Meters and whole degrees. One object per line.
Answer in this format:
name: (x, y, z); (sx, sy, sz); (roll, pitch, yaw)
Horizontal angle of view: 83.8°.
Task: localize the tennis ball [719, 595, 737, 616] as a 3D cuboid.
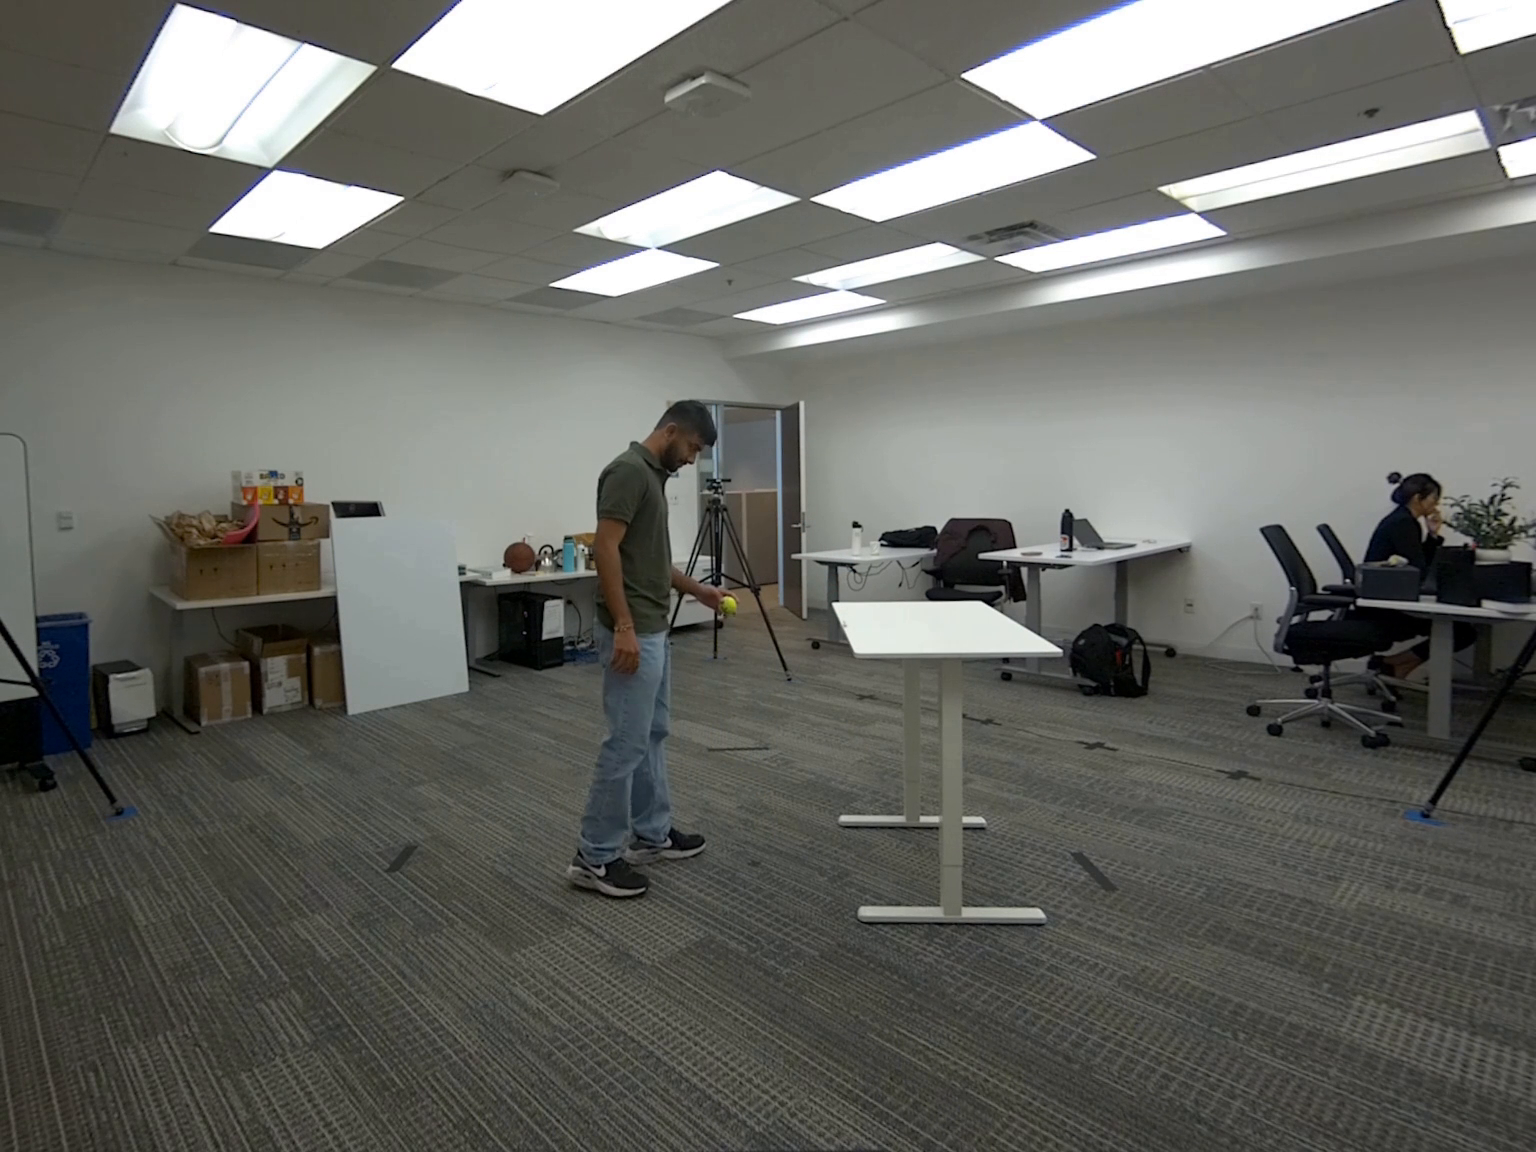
tennis ball: (-0.171, 0.126, 3.182); (0.066, 0.066, 0.067); (-1, 5, -2)
